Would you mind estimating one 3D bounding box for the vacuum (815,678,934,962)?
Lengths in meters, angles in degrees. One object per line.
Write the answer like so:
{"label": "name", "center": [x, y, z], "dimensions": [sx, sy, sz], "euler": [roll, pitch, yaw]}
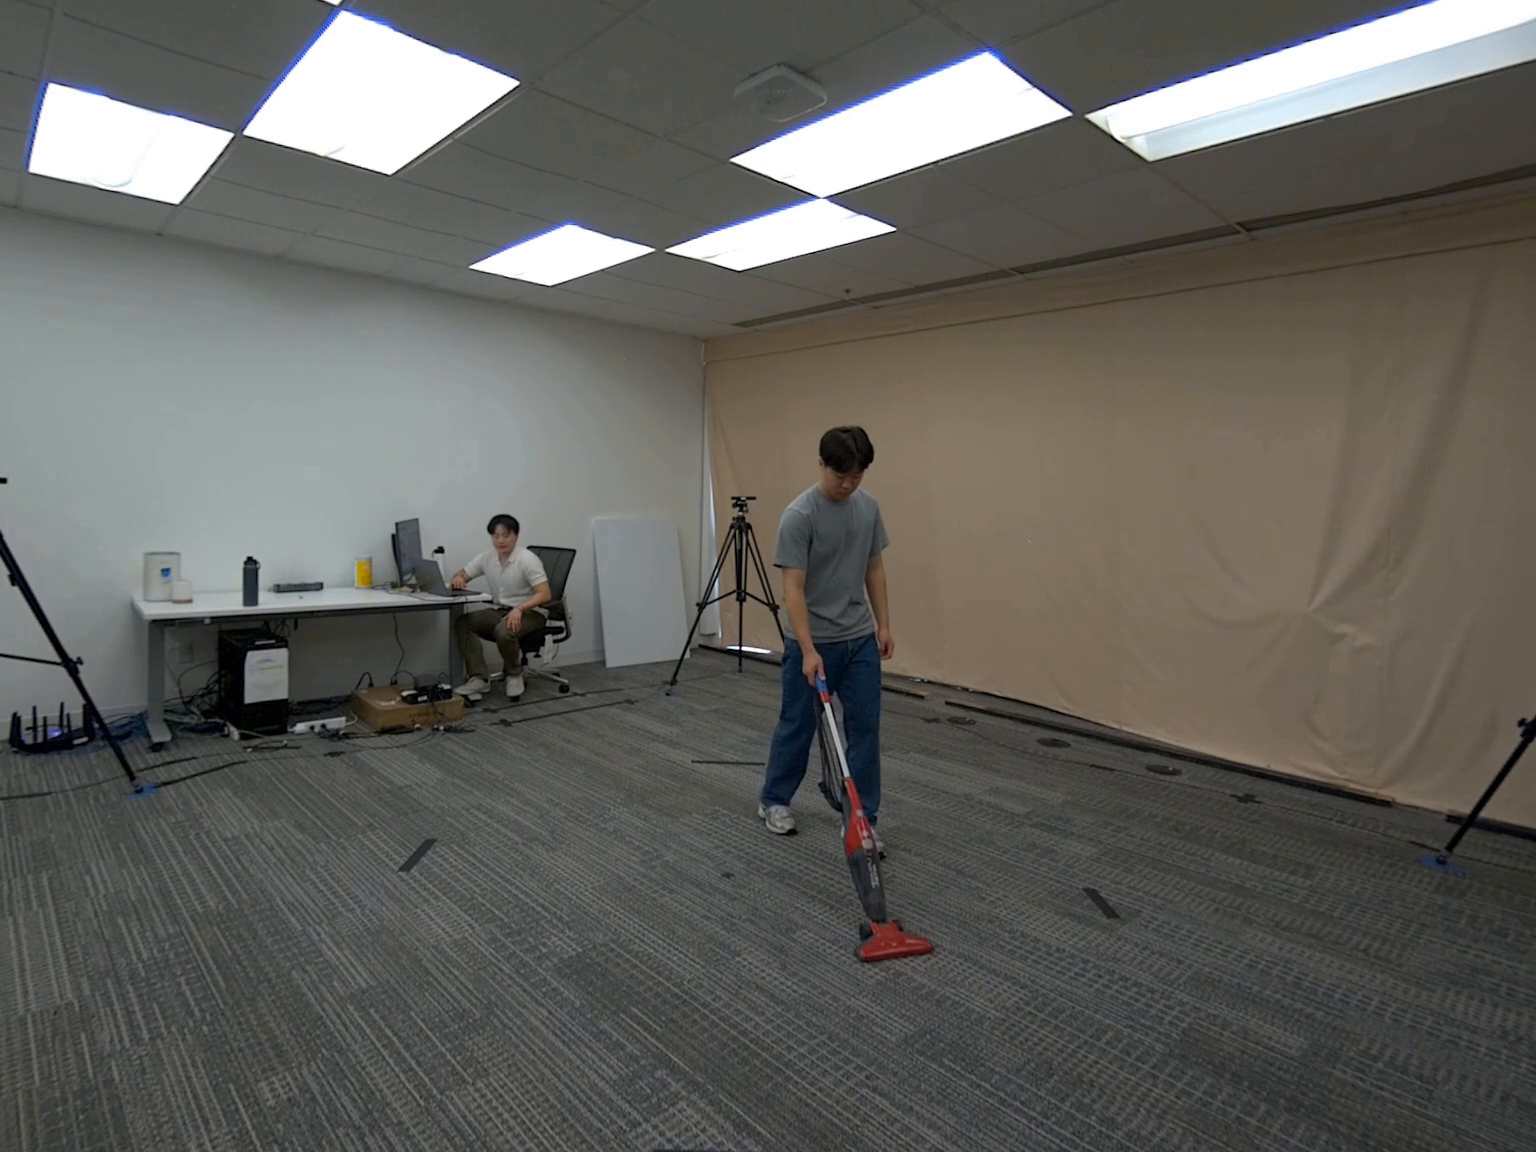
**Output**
{"label": "vacuum", "center": [0.272, 0.749, 2.956], "dimensions": [0.248, 1.077, 0.142], "euler": [4, -42, -21]}
